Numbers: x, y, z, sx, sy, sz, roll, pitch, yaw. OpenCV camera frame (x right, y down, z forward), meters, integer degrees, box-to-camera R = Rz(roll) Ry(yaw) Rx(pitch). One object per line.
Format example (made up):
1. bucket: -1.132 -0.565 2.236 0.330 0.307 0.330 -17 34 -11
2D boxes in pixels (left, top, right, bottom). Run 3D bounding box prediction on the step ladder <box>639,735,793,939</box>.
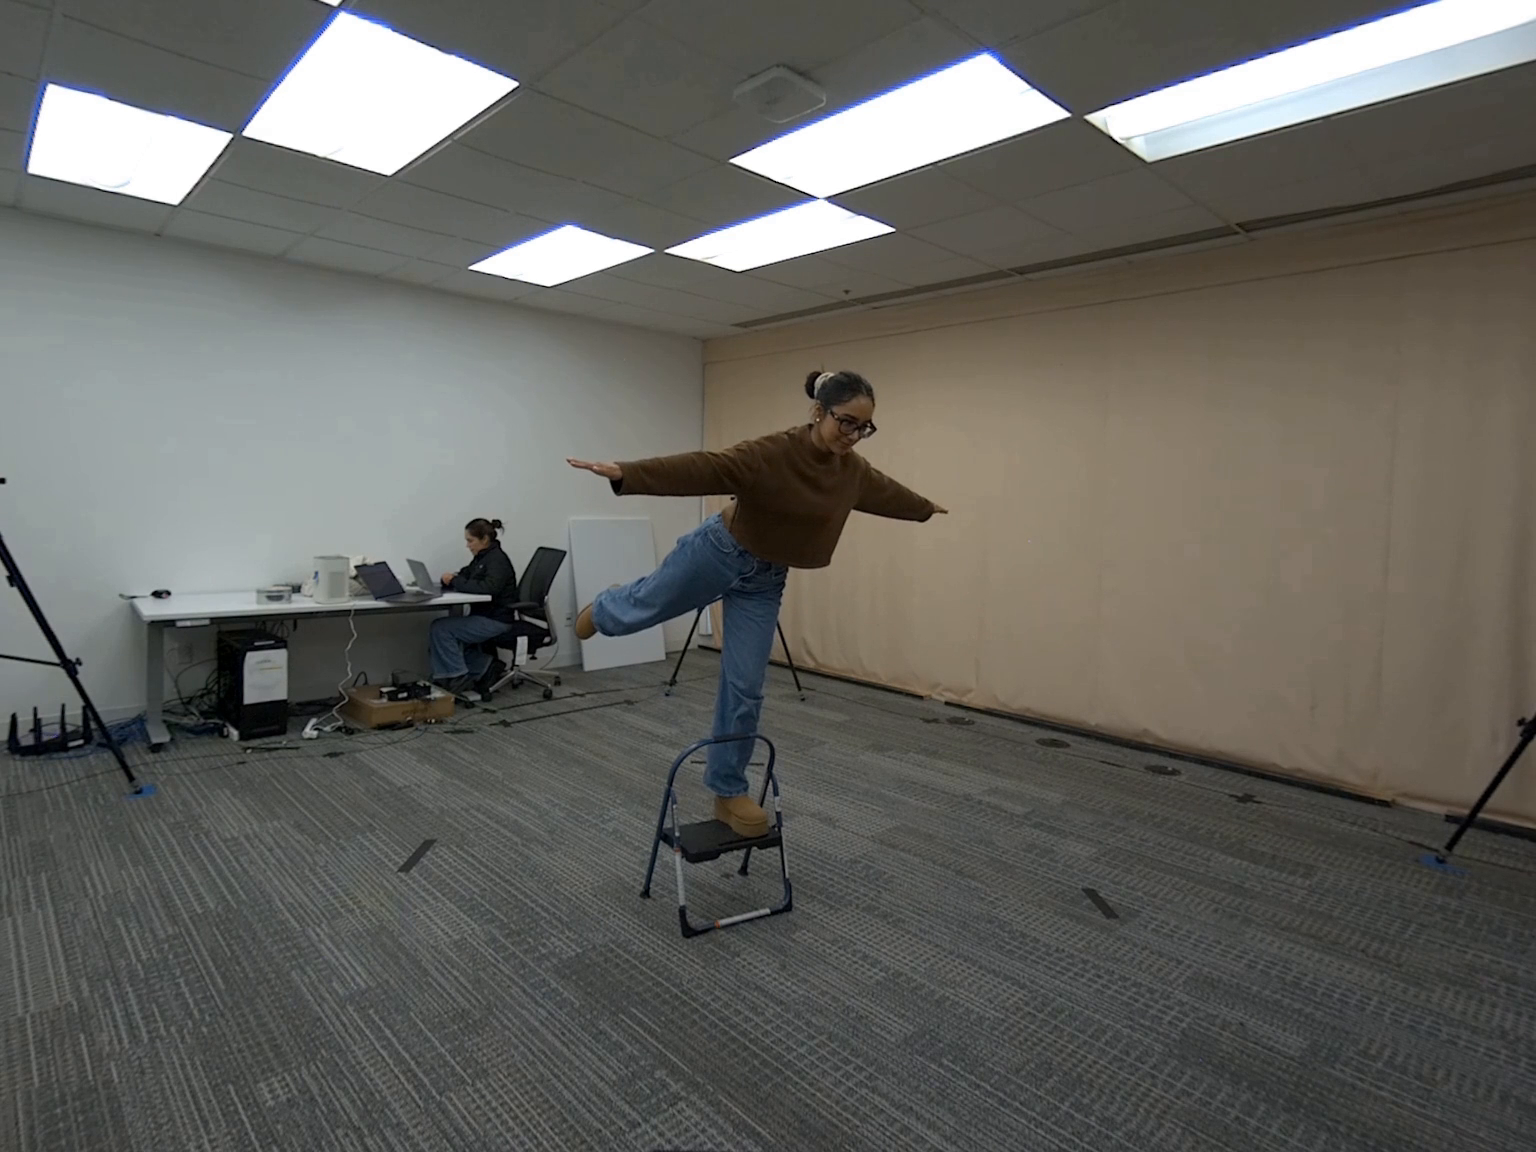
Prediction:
1. step ladder: -0.177 0.825 2.880 0.421 0.604 0.357 -1 4 -32
